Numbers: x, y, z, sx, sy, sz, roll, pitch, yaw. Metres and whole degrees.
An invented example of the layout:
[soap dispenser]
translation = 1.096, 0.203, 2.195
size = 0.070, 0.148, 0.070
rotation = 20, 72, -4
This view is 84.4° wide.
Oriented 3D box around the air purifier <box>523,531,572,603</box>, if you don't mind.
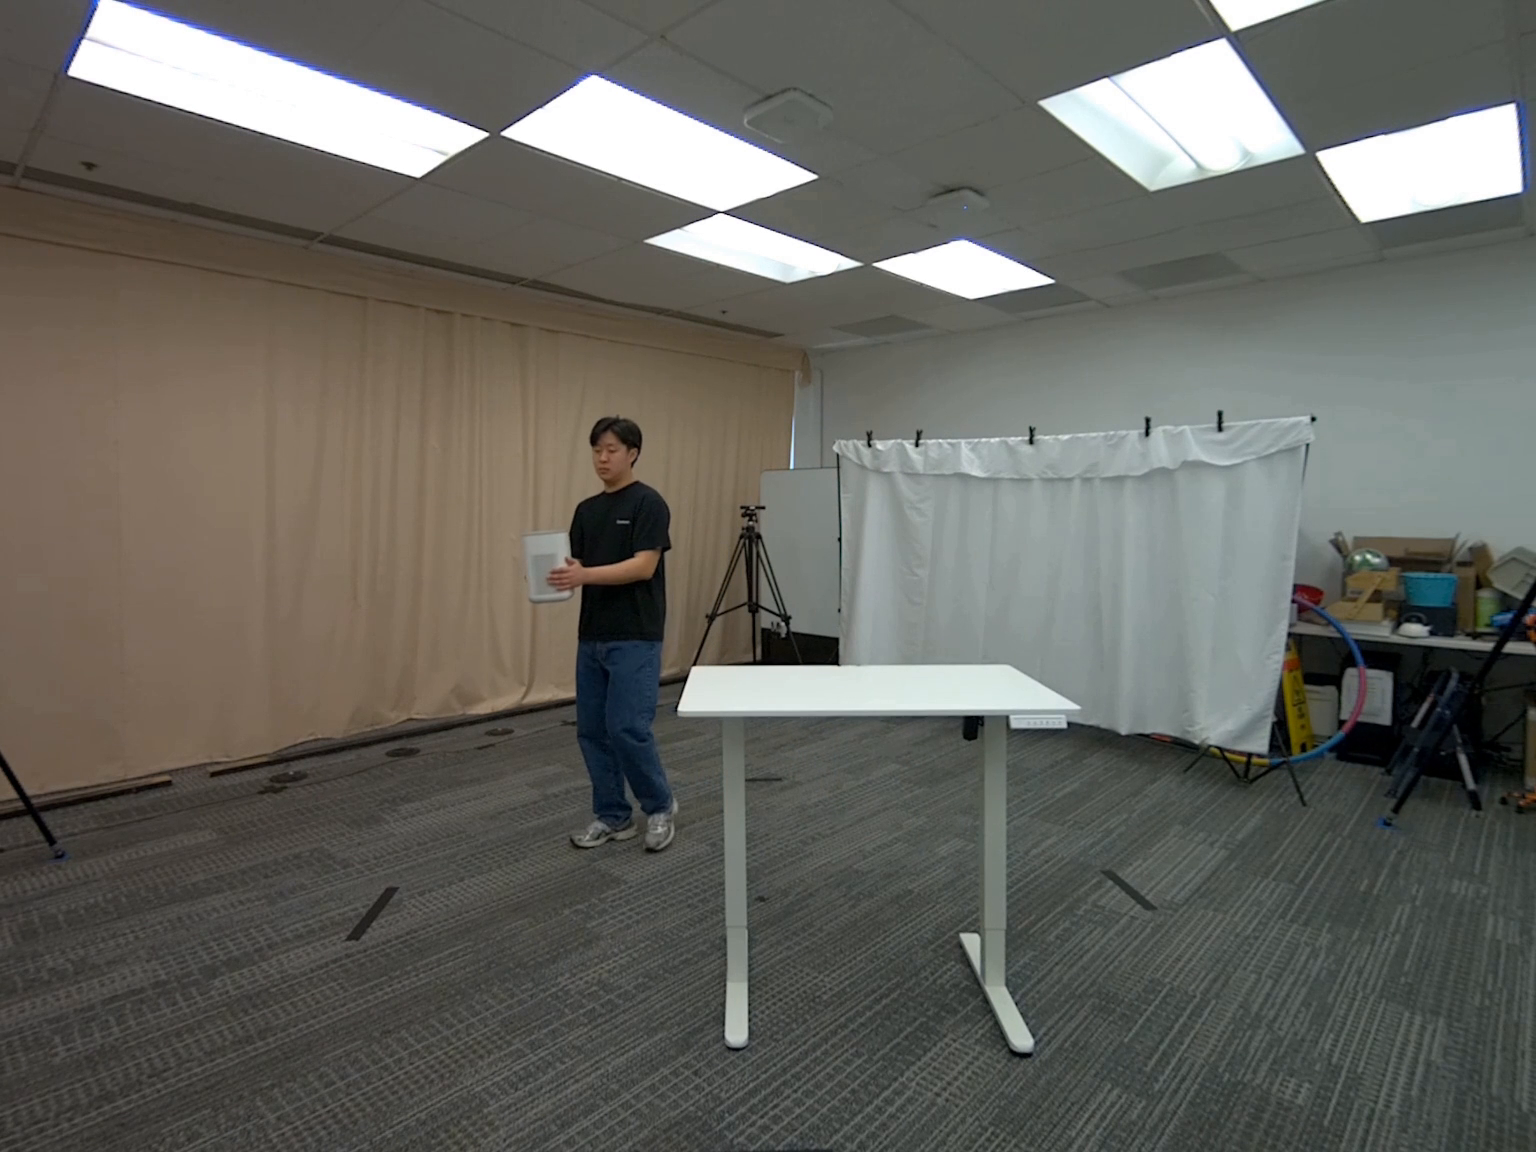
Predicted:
[air purifier]
translation = -0.841, -0.038, 3.229
size = 0.171, 0.264, 0.172
rotation = -3, 5, -4
